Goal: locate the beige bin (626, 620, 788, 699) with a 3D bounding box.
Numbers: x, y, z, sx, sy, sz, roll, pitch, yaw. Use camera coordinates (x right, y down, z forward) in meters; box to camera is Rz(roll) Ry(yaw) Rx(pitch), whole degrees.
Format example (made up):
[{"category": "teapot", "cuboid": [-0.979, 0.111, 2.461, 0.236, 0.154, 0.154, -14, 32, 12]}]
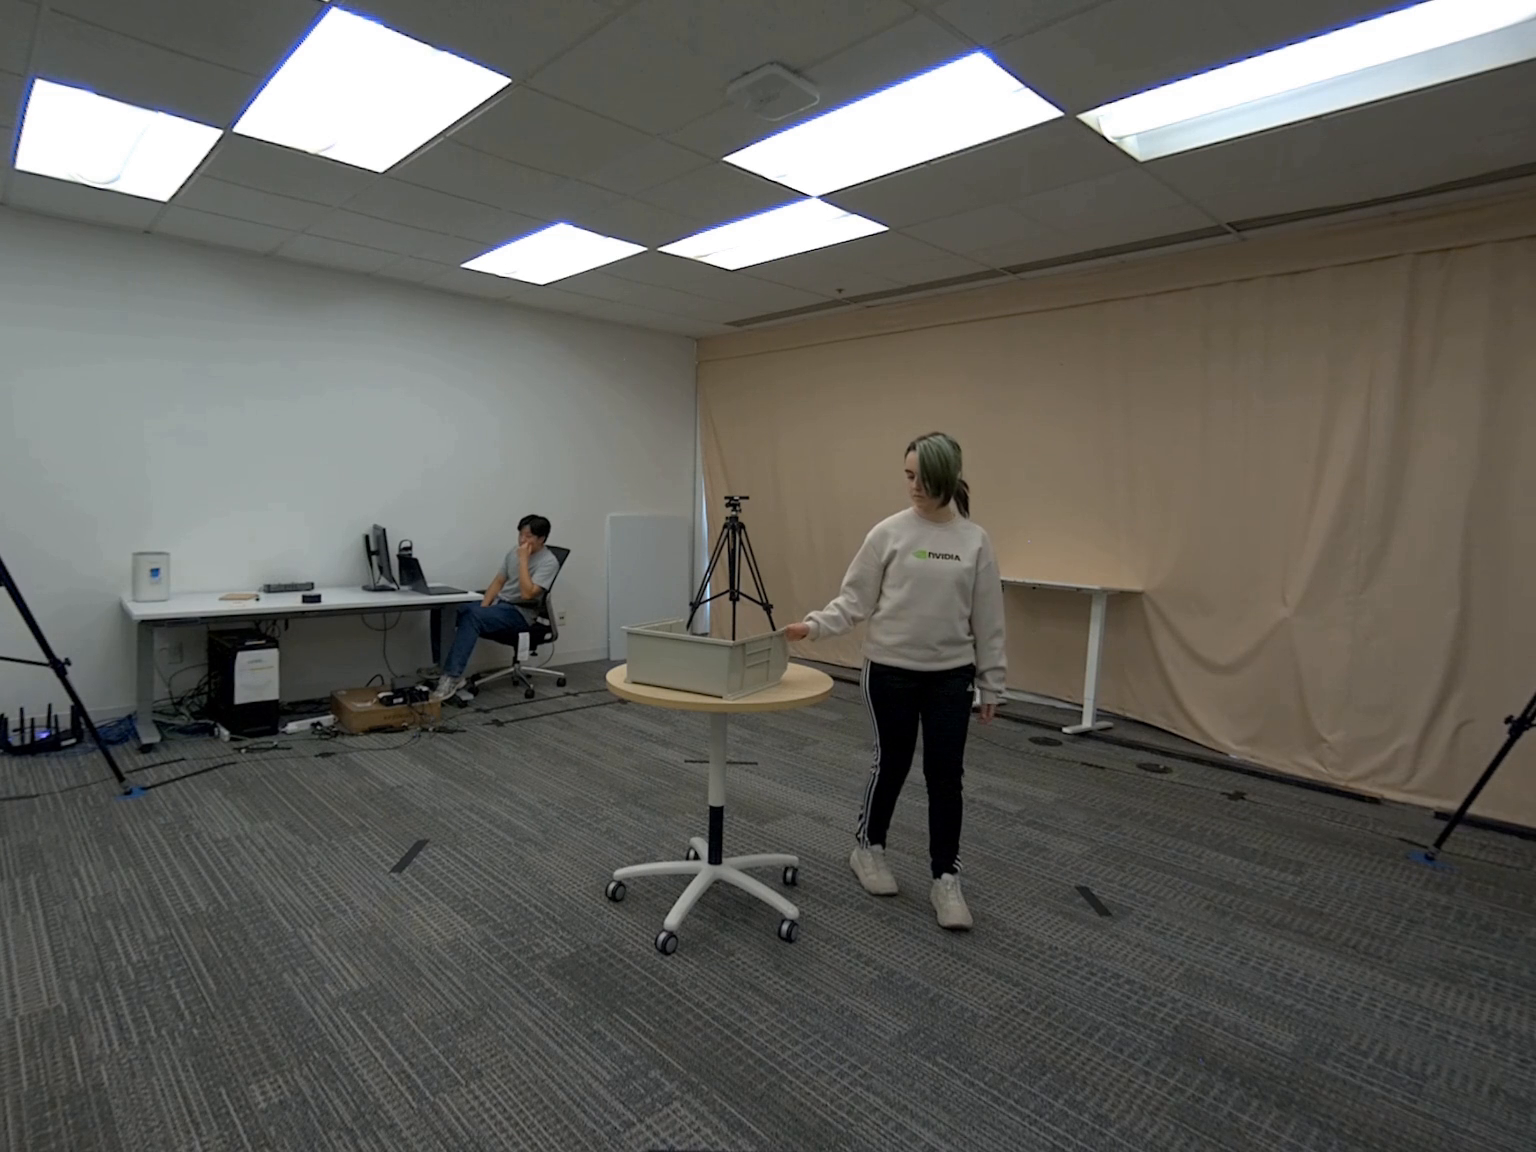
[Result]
[{"category": "beige bin", "cuboid": [-0.206, 0.258, 2.752, 0.431, 0.188, 0.370, 5, 7, 29]}]
